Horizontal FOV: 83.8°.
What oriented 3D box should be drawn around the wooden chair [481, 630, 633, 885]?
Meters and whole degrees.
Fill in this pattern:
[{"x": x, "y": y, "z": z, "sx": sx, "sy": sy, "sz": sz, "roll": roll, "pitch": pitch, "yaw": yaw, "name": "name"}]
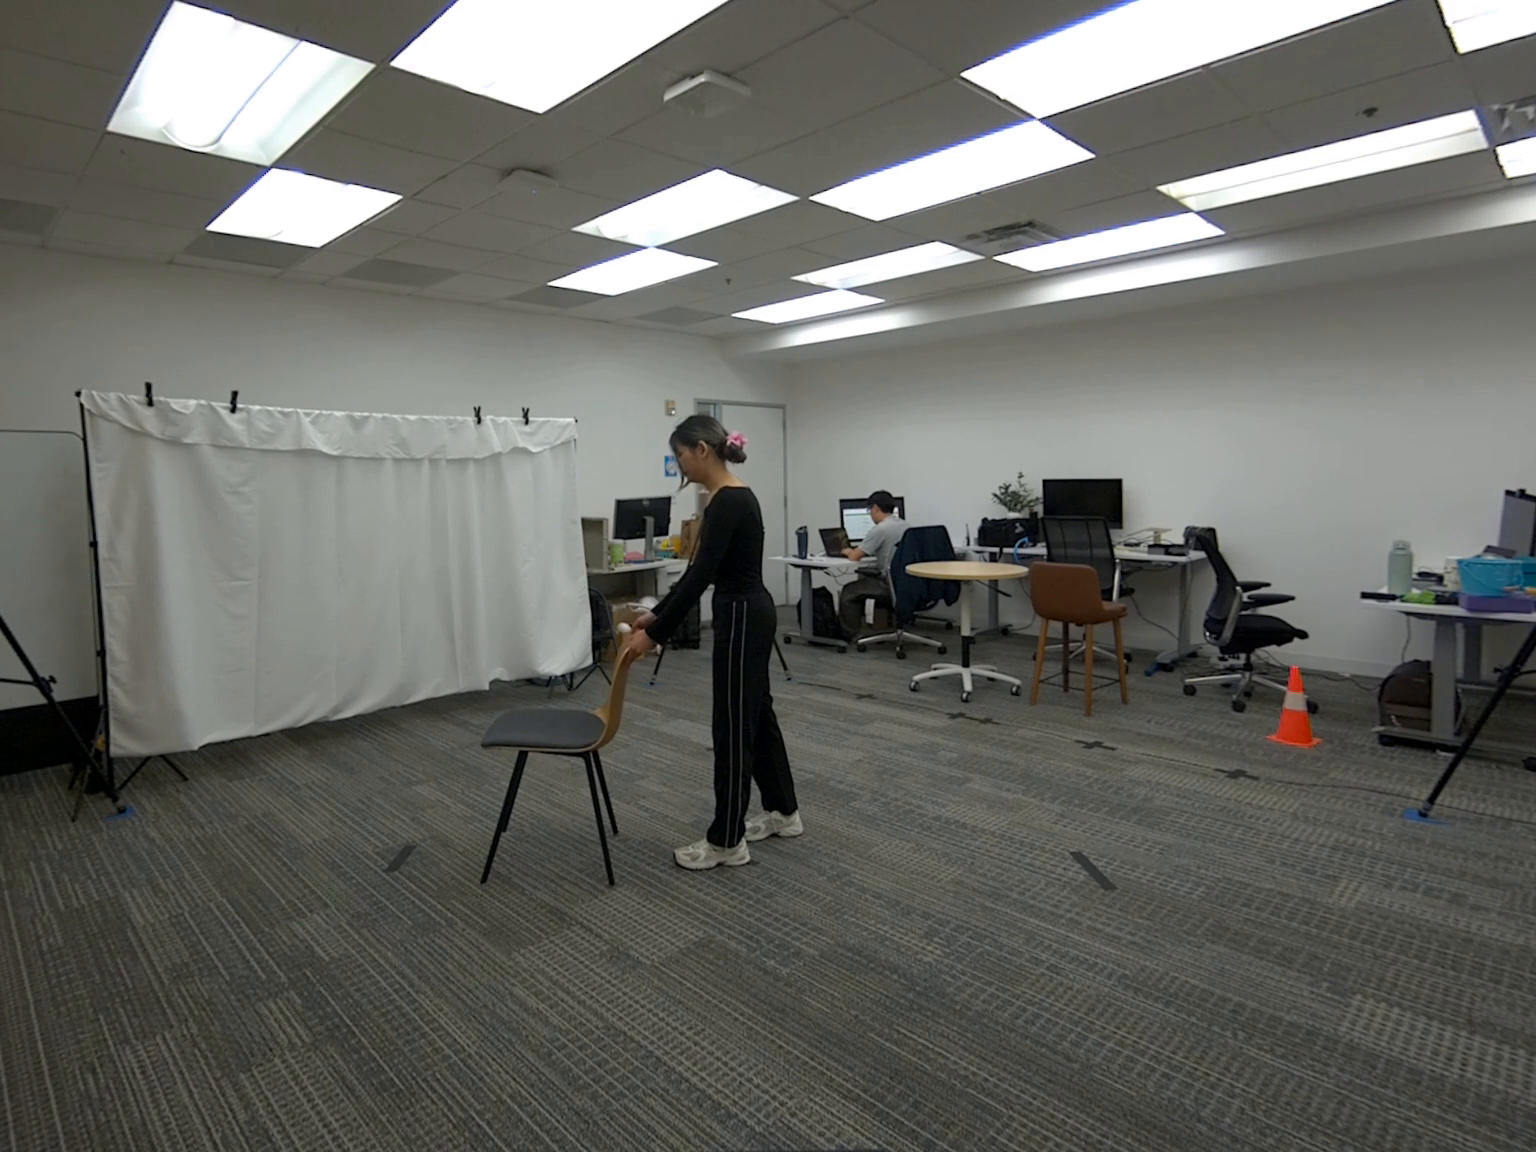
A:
[{"x": -0.769, "y": 0.613, "z": 3.105, "sx": 0.519, "sy": 0.875, "sz": 0.483, "roll": 7, "pitch": 4, "yaw": -8, "name": "wooden chair"}]
